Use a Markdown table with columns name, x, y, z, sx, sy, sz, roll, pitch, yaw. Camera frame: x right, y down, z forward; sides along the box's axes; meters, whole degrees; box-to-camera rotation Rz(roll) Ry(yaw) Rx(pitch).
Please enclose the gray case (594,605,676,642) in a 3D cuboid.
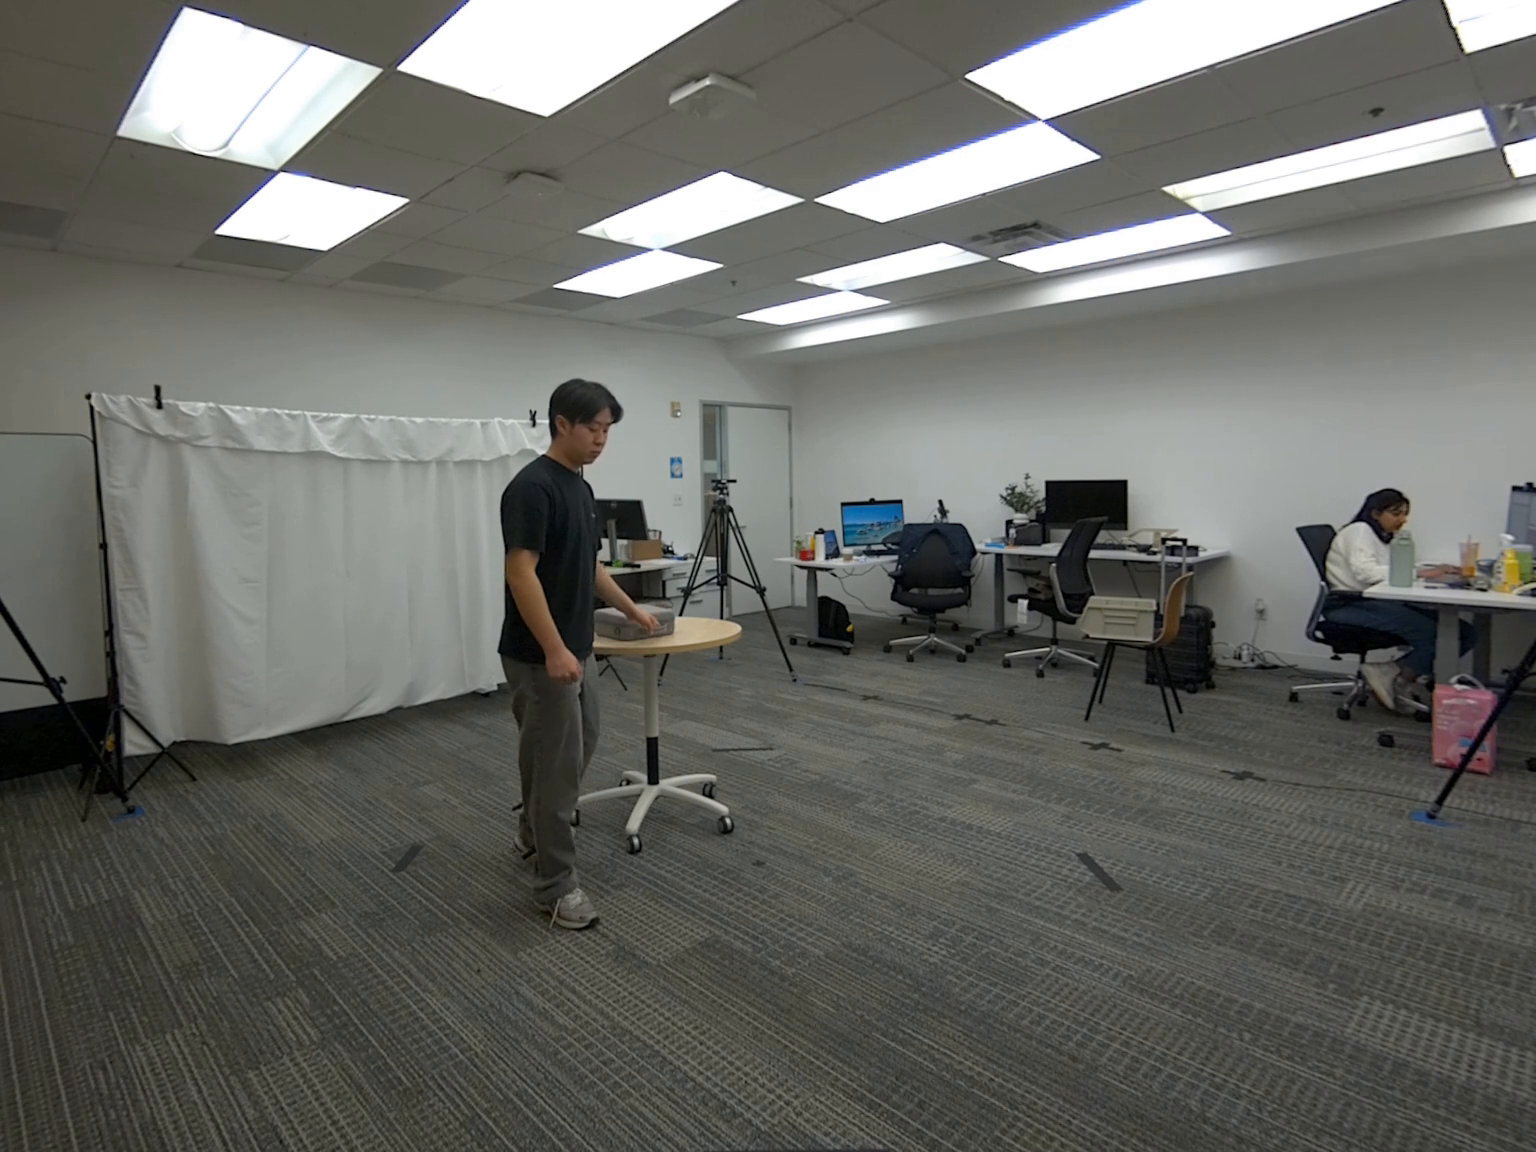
| name | x | y | z | sx | sy | sz | roll | pitch | yaw |
| --- | --- | --- | --- | --- | --- | --- | --- | --- | --- |
| gray case | -0.526 | 0.186 | 3.430 | 0.256 | 0.102 | 0.296 | -6 | 8 | -39 |
